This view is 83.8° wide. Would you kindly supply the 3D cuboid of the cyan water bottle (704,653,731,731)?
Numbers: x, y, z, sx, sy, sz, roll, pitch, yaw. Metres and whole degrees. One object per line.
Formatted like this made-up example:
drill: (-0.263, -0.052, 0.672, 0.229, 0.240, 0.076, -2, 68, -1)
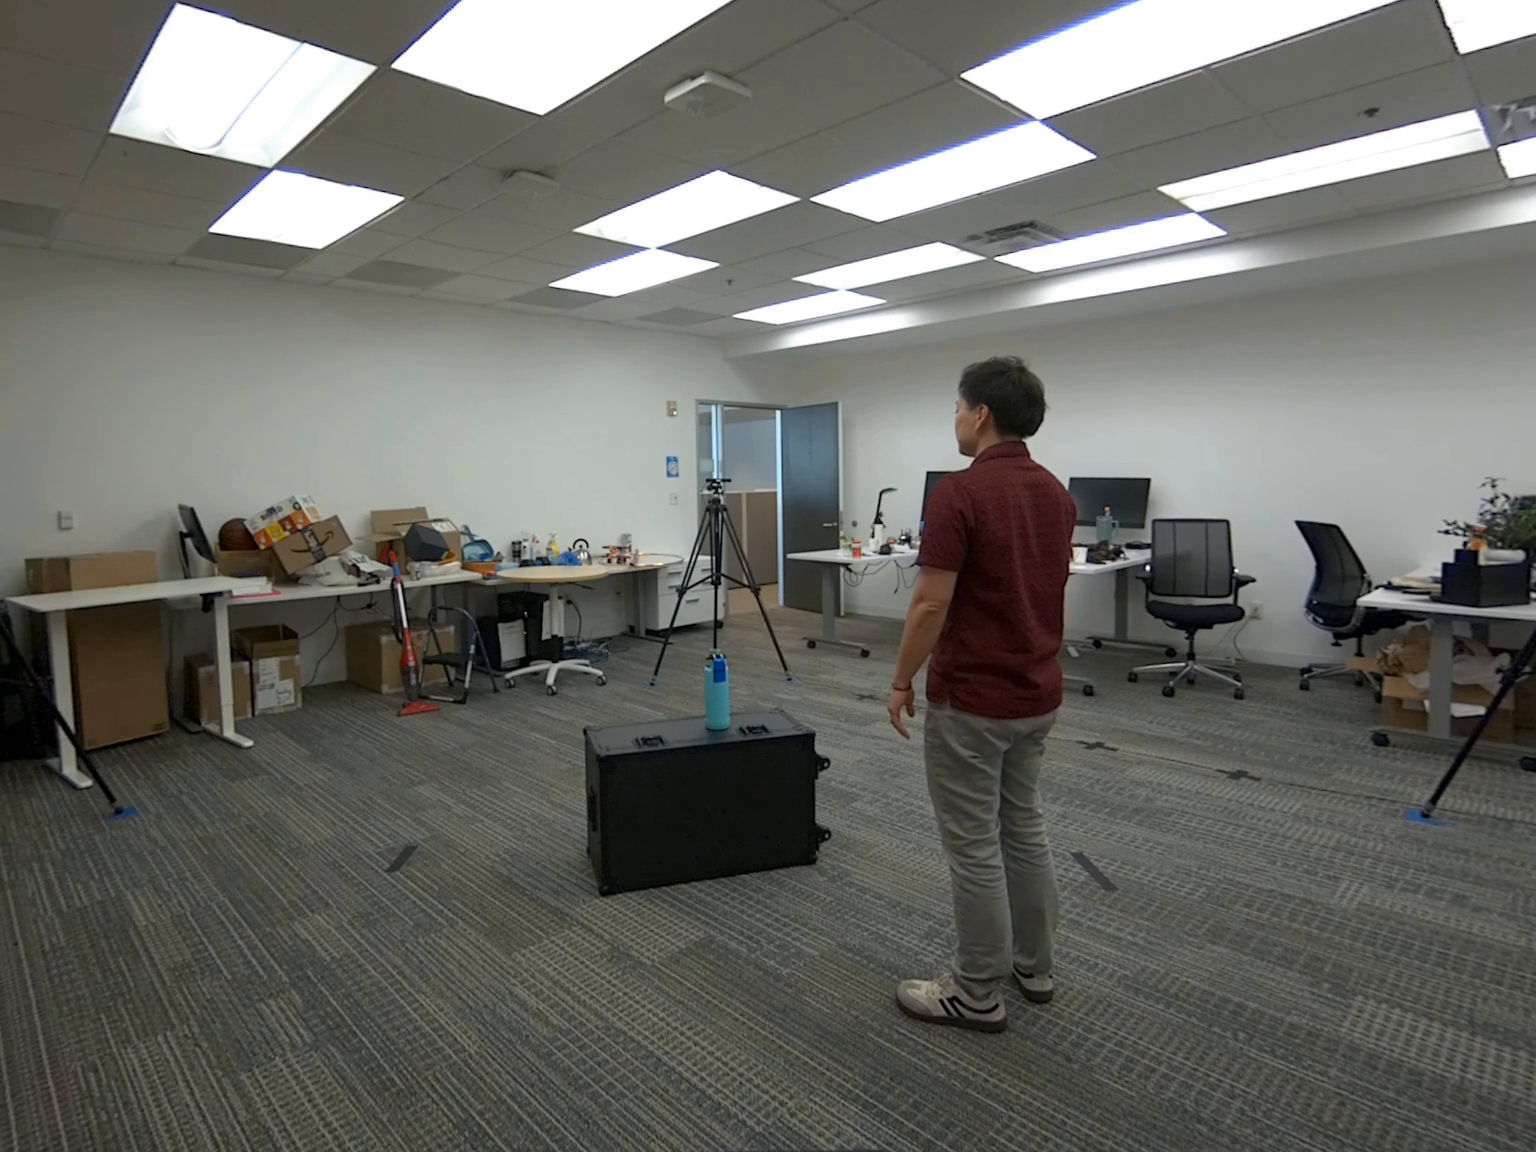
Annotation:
cyan water bottle: (-0.186, 0.415, 3.159, 0.092, 0.282, 0.093, 0, 5, -2)
